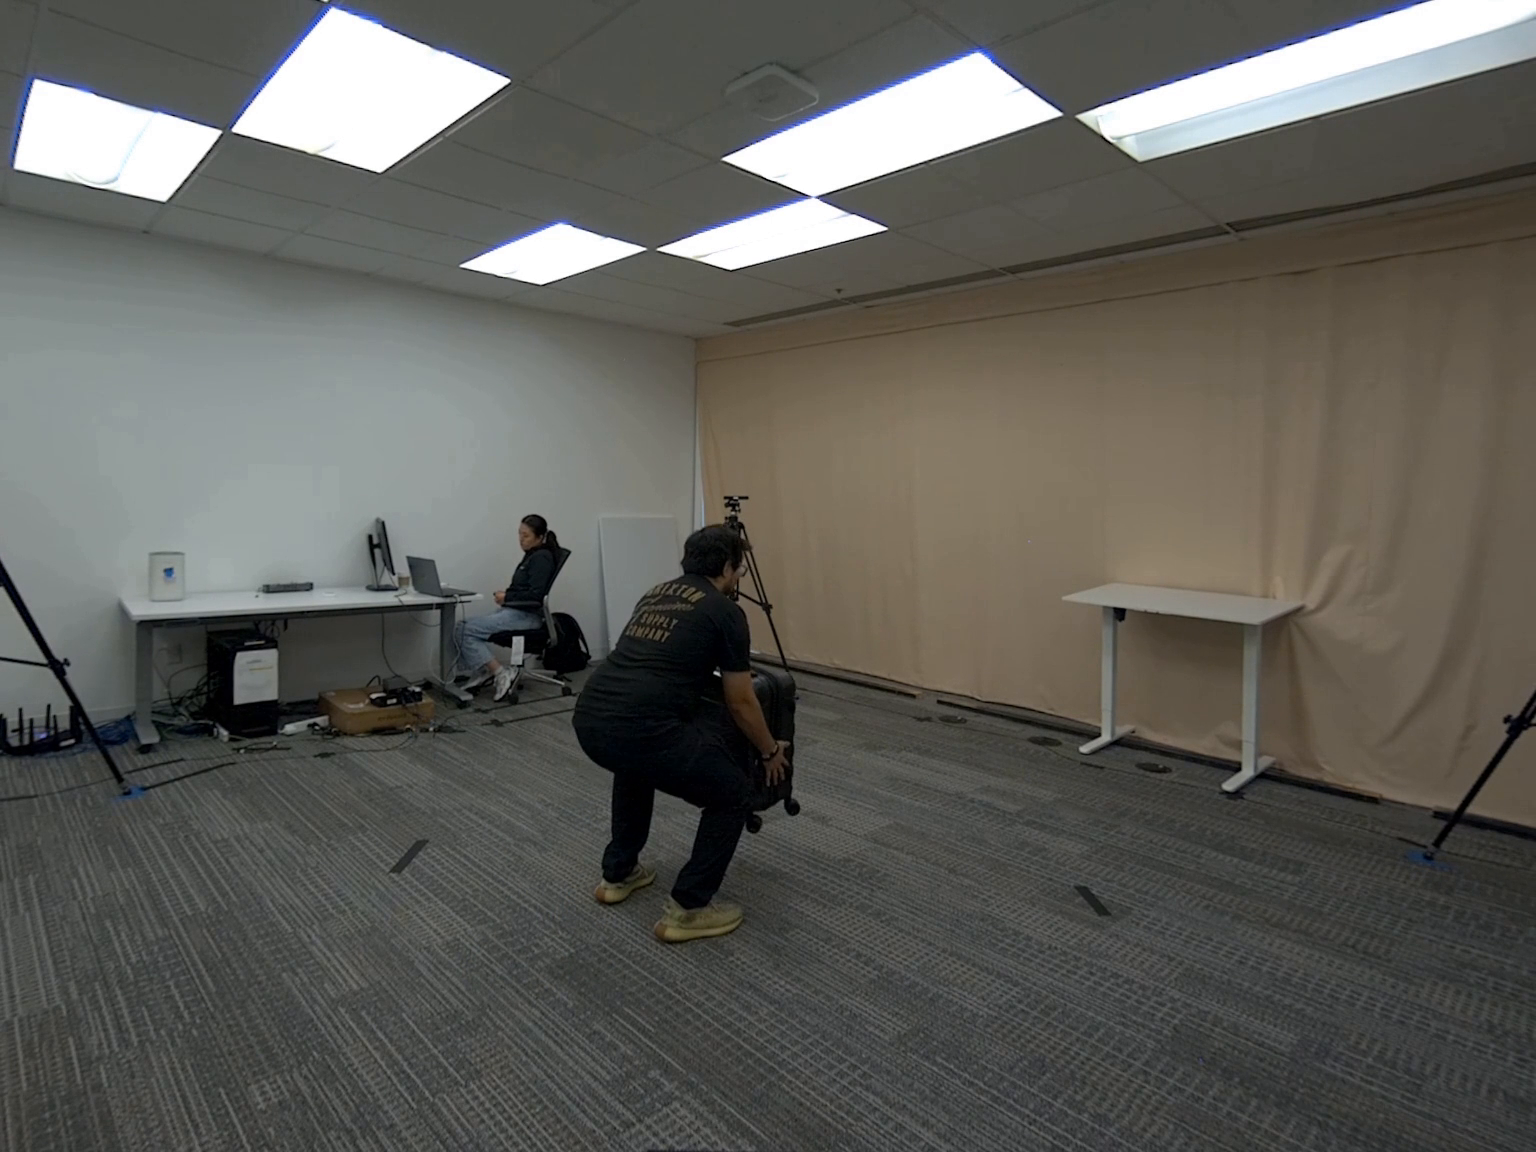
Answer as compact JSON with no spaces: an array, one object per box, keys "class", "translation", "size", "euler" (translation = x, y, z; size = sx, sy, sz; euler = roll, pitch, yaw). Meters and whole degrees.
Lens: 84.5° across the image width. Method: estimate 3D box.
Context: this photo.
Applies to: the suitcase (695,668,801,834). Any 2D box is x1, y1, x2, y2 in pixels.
[{"class":"suitcase","translation":[-0.095,0.592,3.112],"size":[0.243,0.547,0.385],"euler":[-5,8,-43]}]
